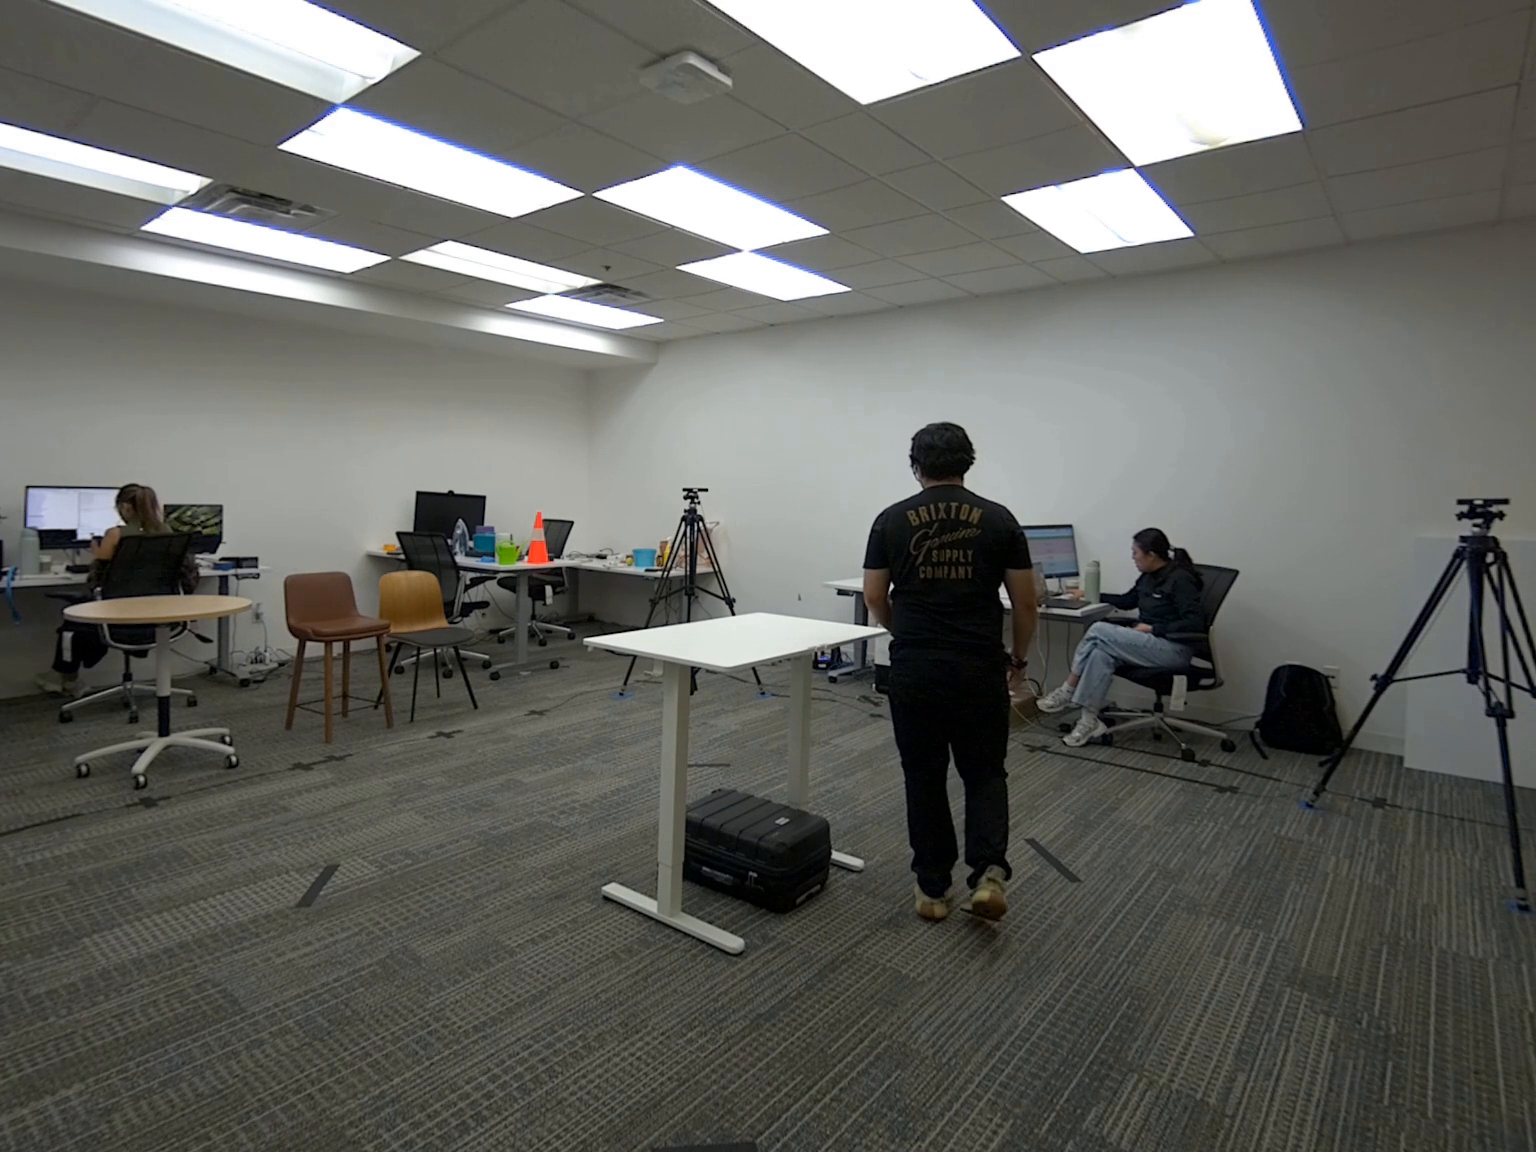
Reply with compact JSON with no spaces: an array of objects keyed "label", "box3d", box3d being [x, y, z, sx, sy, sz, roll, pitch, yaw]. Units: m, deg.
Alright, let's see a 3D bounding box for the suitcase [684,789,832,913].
[{"label":"suitcase","box3d":[-0.078,0.963,3.031,0.567,0.248,0.364,5,5,35]}]
